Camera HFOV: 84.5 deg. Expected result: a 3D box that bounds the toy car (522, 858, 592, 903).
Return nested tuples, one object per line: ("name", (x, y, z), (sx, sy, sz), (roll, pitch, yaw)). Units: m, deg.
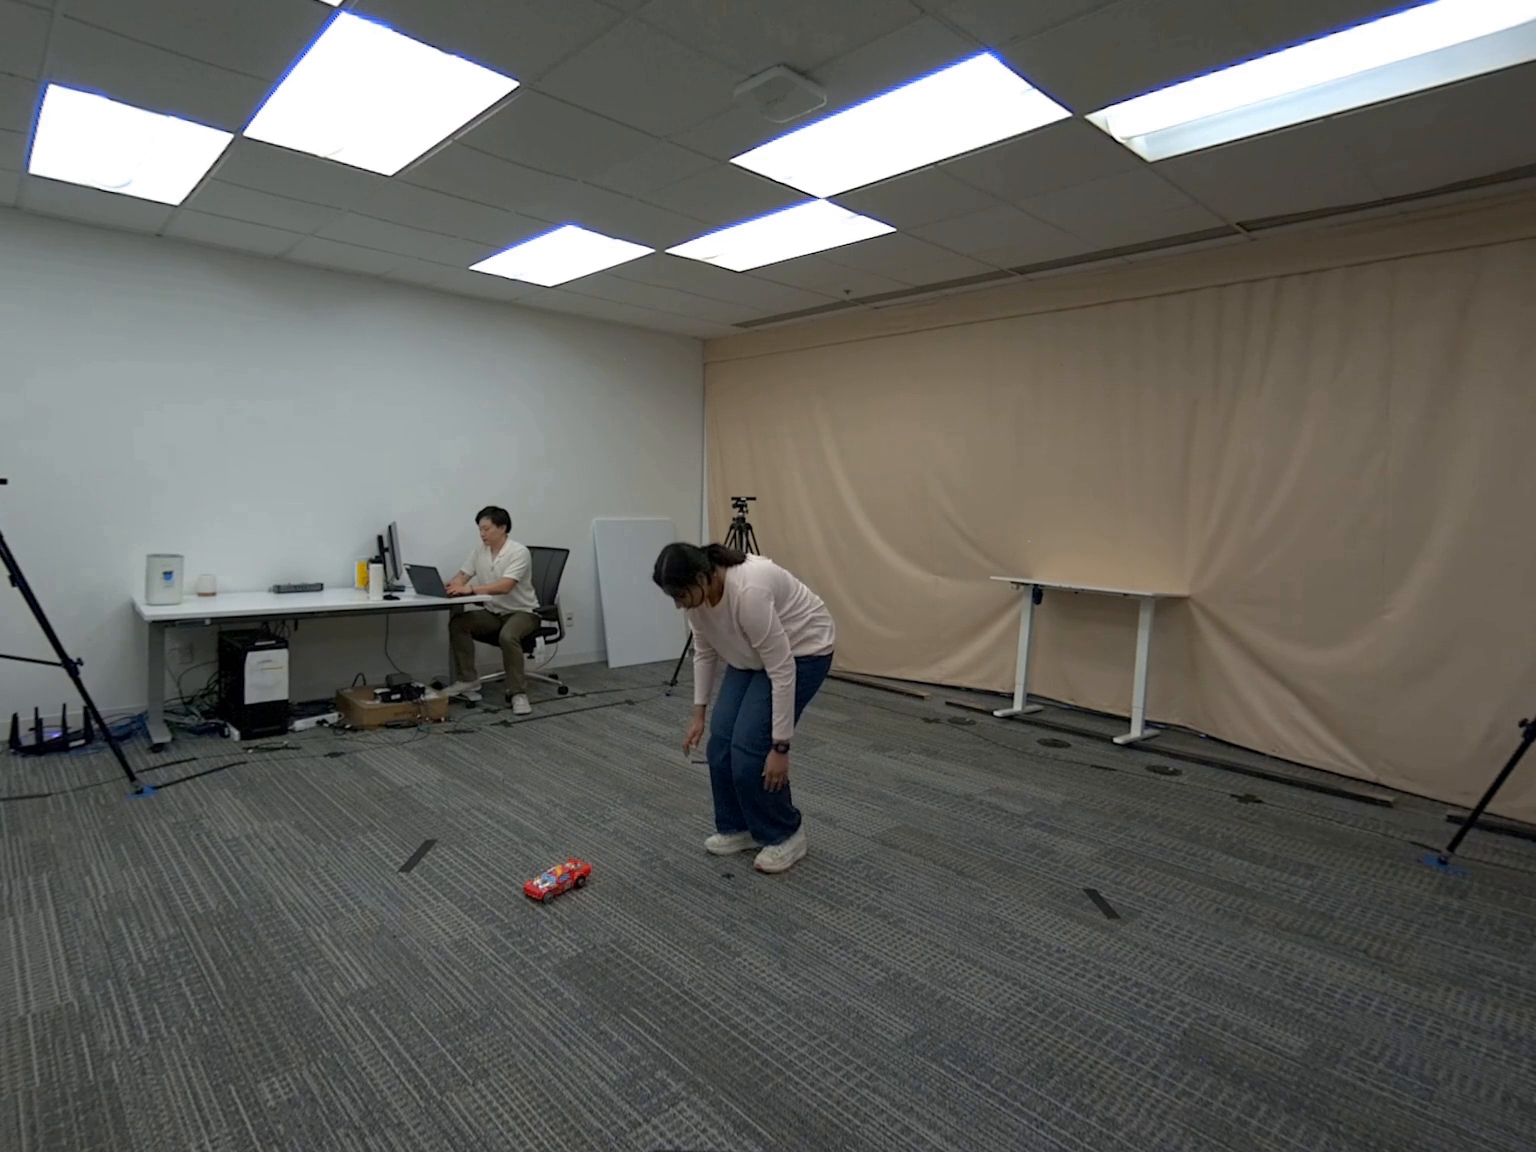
("toy car", (-0.745, 1.076, 2.966), (0.133, 0.082, 0.251), (4, 17, 37))
